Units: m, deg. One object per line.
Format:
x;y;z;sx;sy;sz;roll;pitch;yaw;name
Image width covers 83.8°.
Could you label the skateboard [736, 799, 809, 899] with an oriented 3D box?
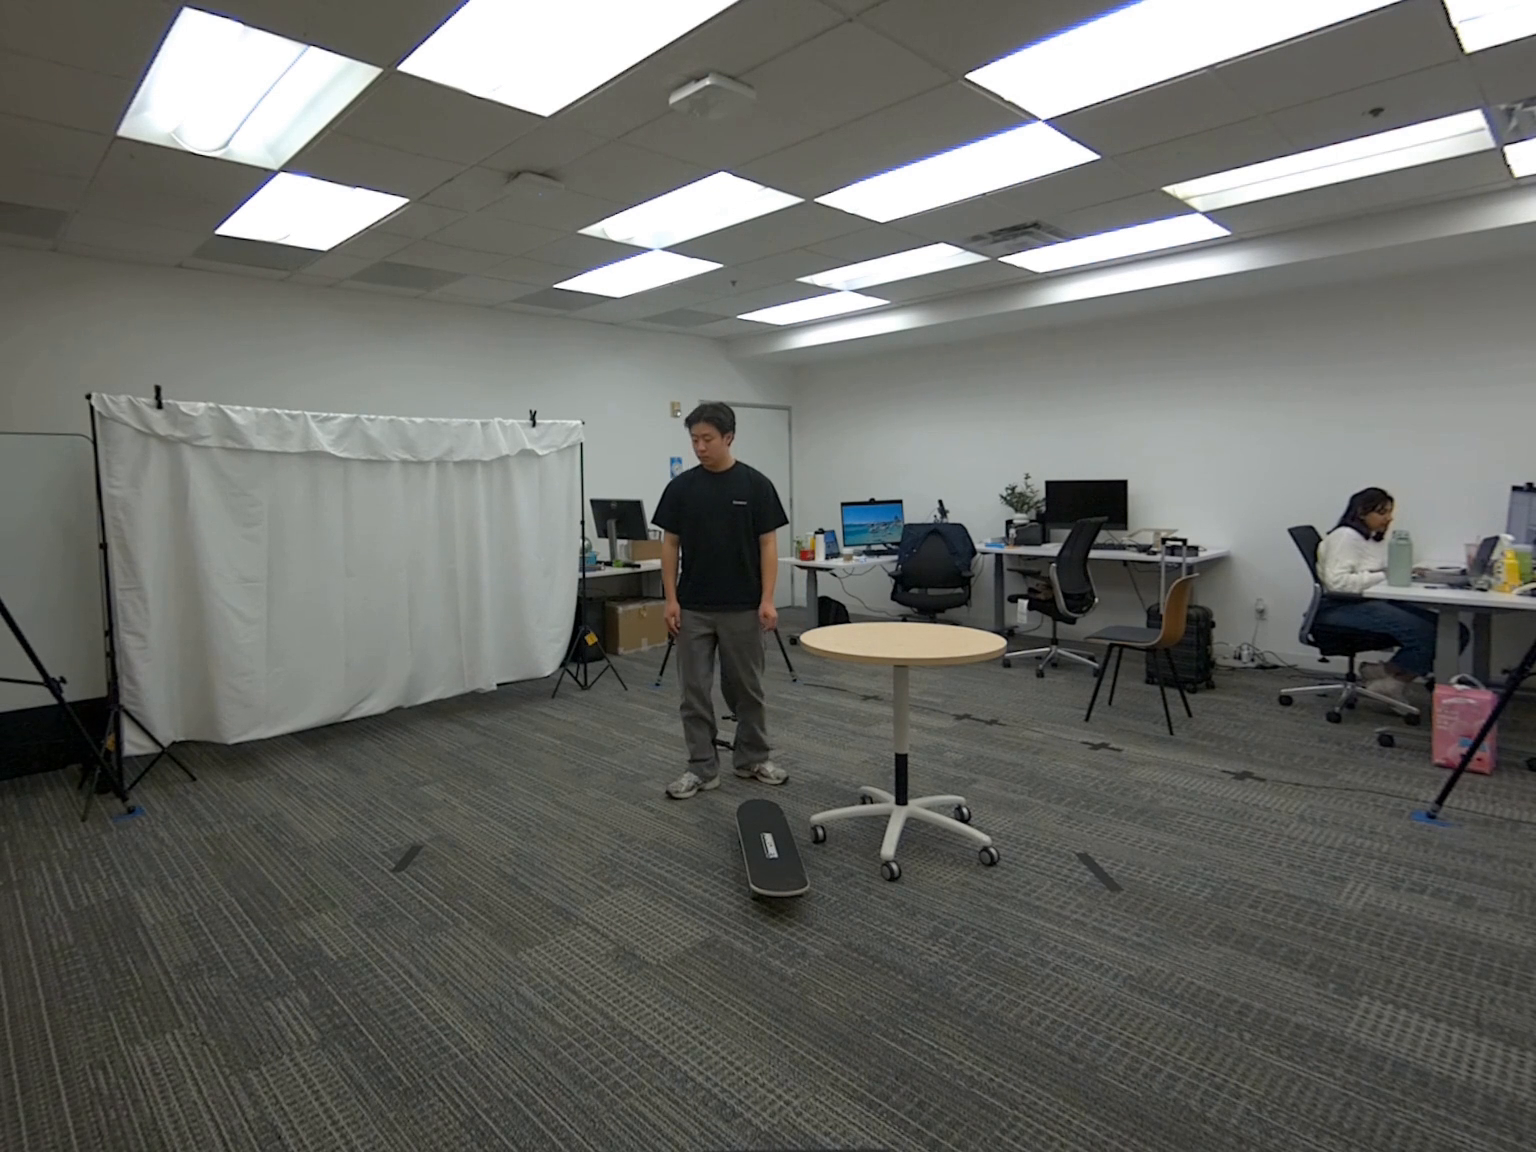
0.005;0.999;3.056;0.192;0.110;0.793;-2;6;-8;skateboard
